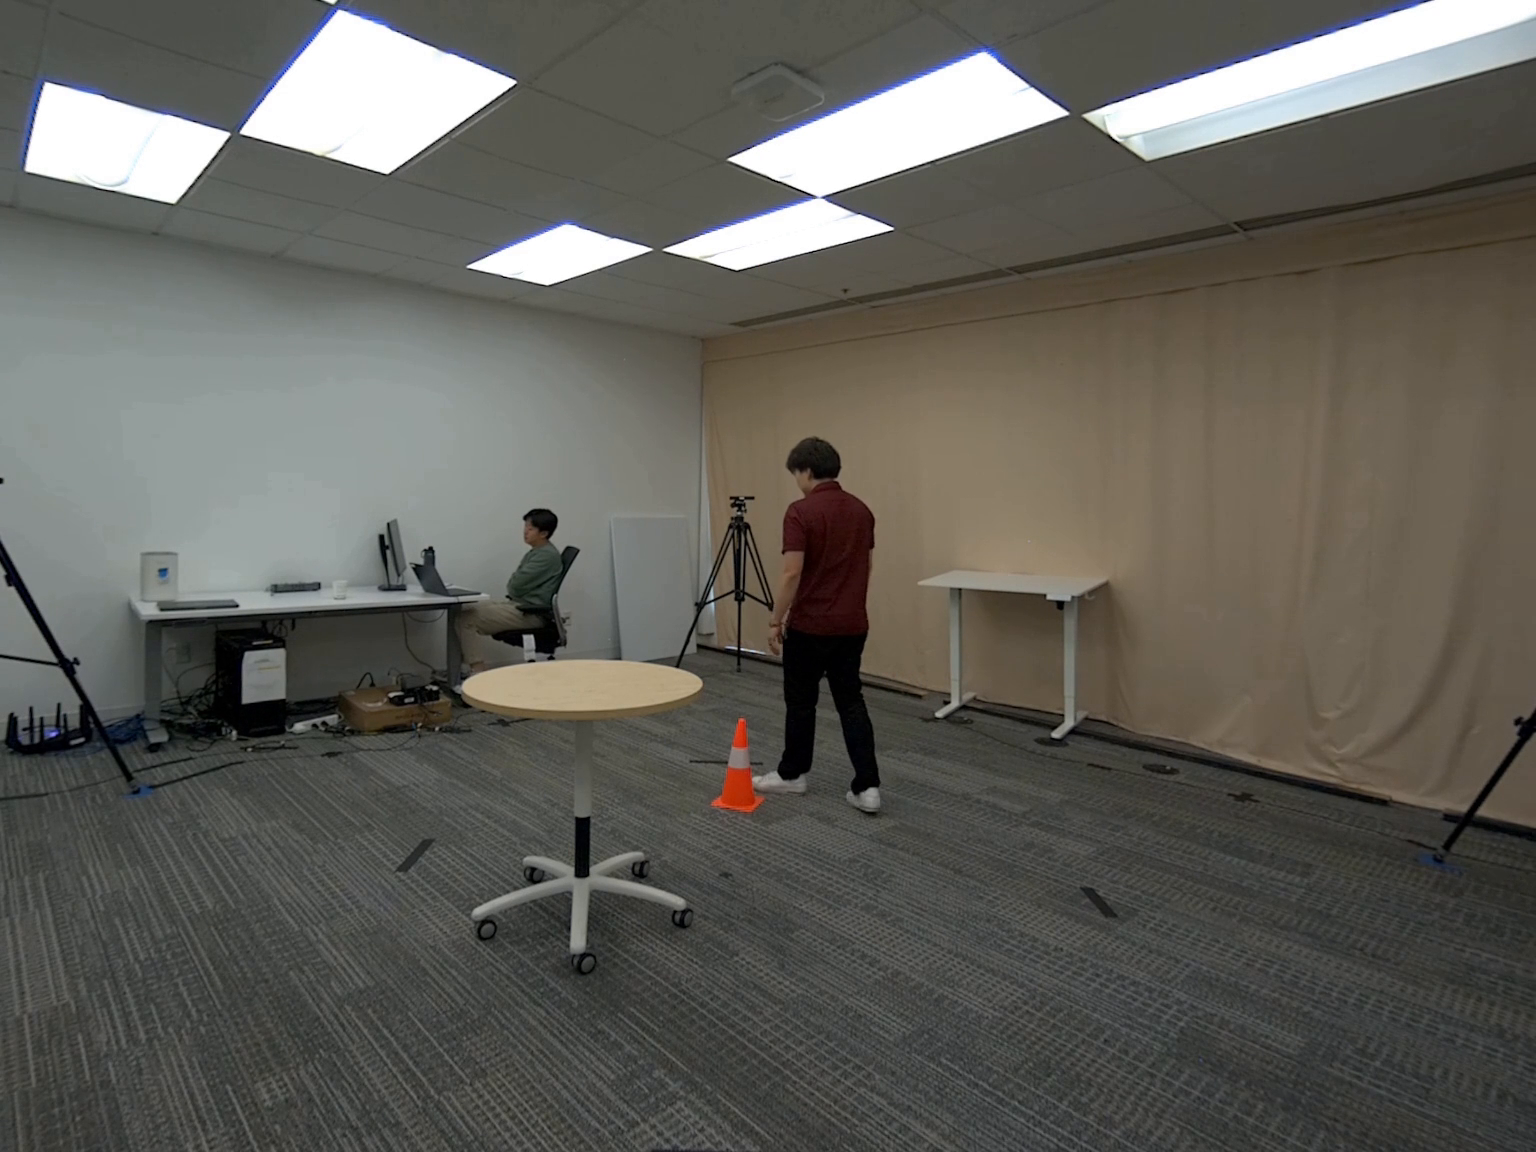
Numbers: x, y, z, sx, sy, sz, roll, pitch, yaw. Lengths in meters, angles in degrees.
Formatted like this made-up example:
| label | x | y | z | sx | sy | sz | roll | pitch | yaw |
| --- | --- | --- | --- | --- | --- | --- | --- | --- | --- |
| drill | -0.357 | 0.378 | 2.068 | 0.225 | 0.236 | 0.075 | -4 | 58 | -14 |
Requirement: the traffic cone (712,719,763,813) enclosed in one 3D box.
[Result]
| label | x | y | z | sx | sy | sz | roll | pitch | yaw |
| --- | --- | --- | --- | --- | --- | --- | --- | --- | --- |
| traffic cone | -0.144 | 0.851 | 3.872 | 0.208 | 0.383 | 0.200 | 4 | 2 | 21 |
